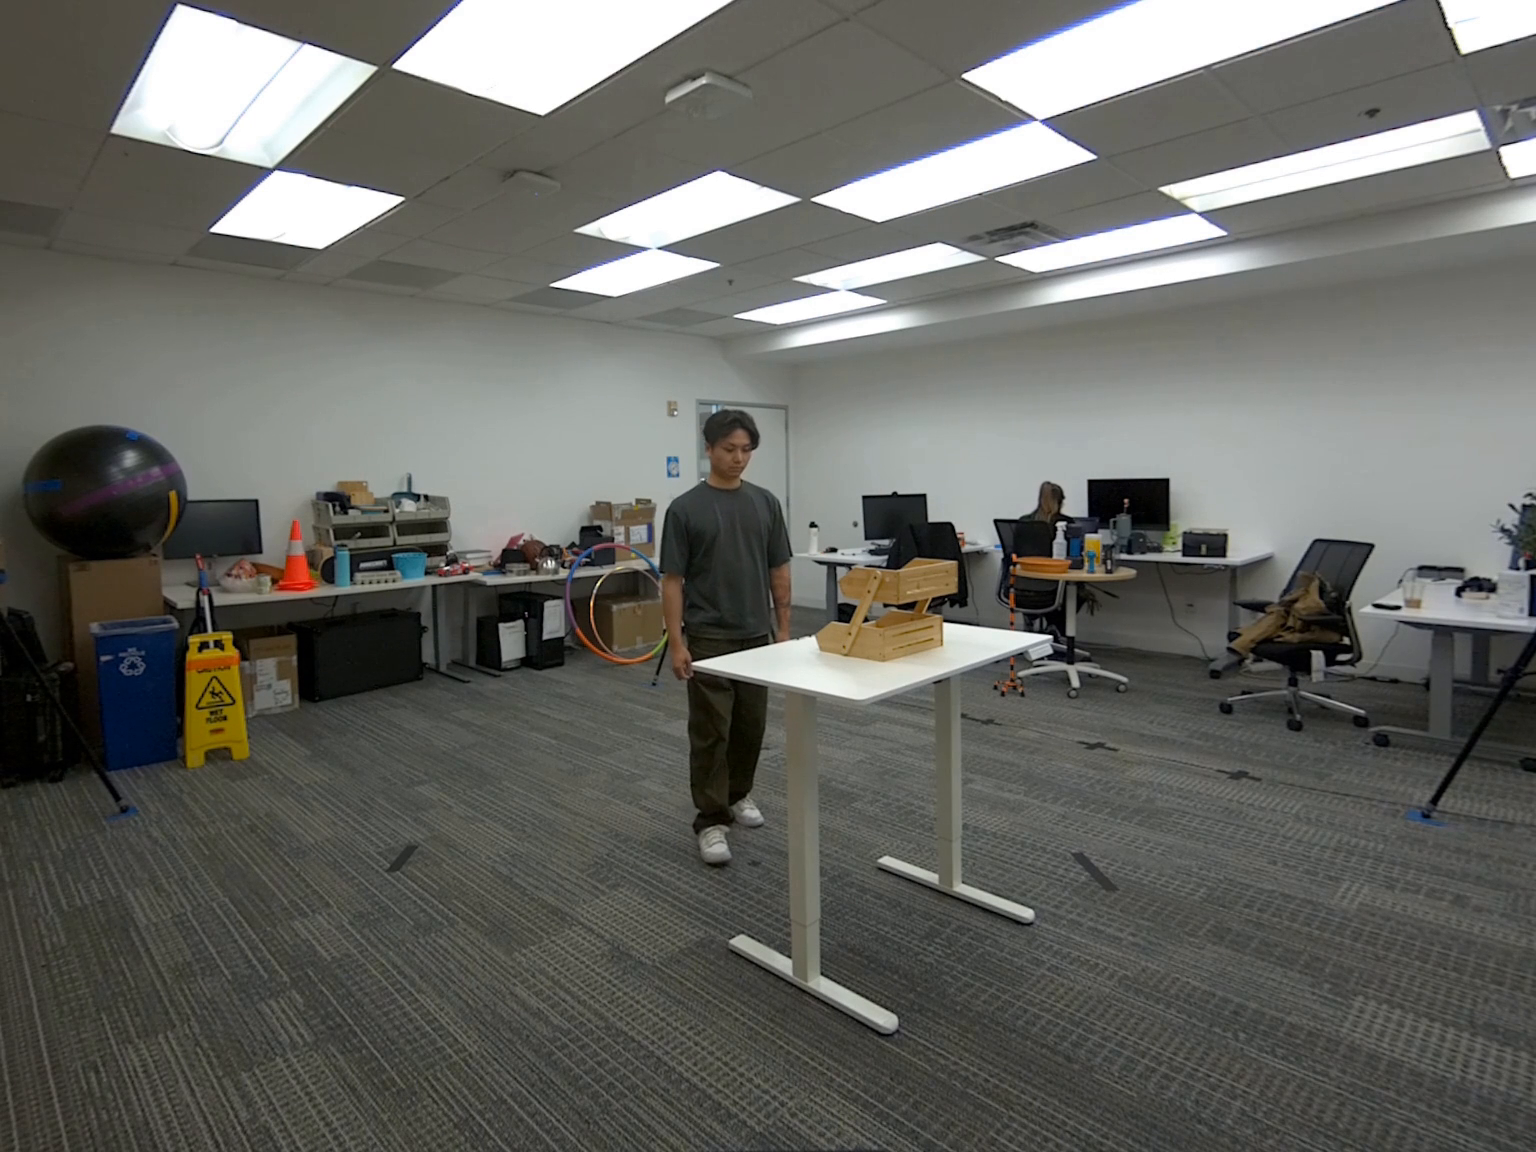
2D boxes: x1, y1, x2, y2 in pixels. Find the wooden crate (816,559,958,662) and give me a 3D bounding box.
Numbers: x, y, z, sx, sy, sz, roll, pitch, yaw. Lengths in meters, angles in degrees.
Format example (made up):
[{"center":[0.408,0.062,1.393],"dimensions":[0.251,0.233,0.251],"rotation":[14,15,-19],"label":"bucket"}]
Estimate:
[{"center":[0.356,0.086,2.543],"dimensions":[0.316,0.272,0.311],"rotation":[-7,8,-44],"label":"wooden crate"}]
